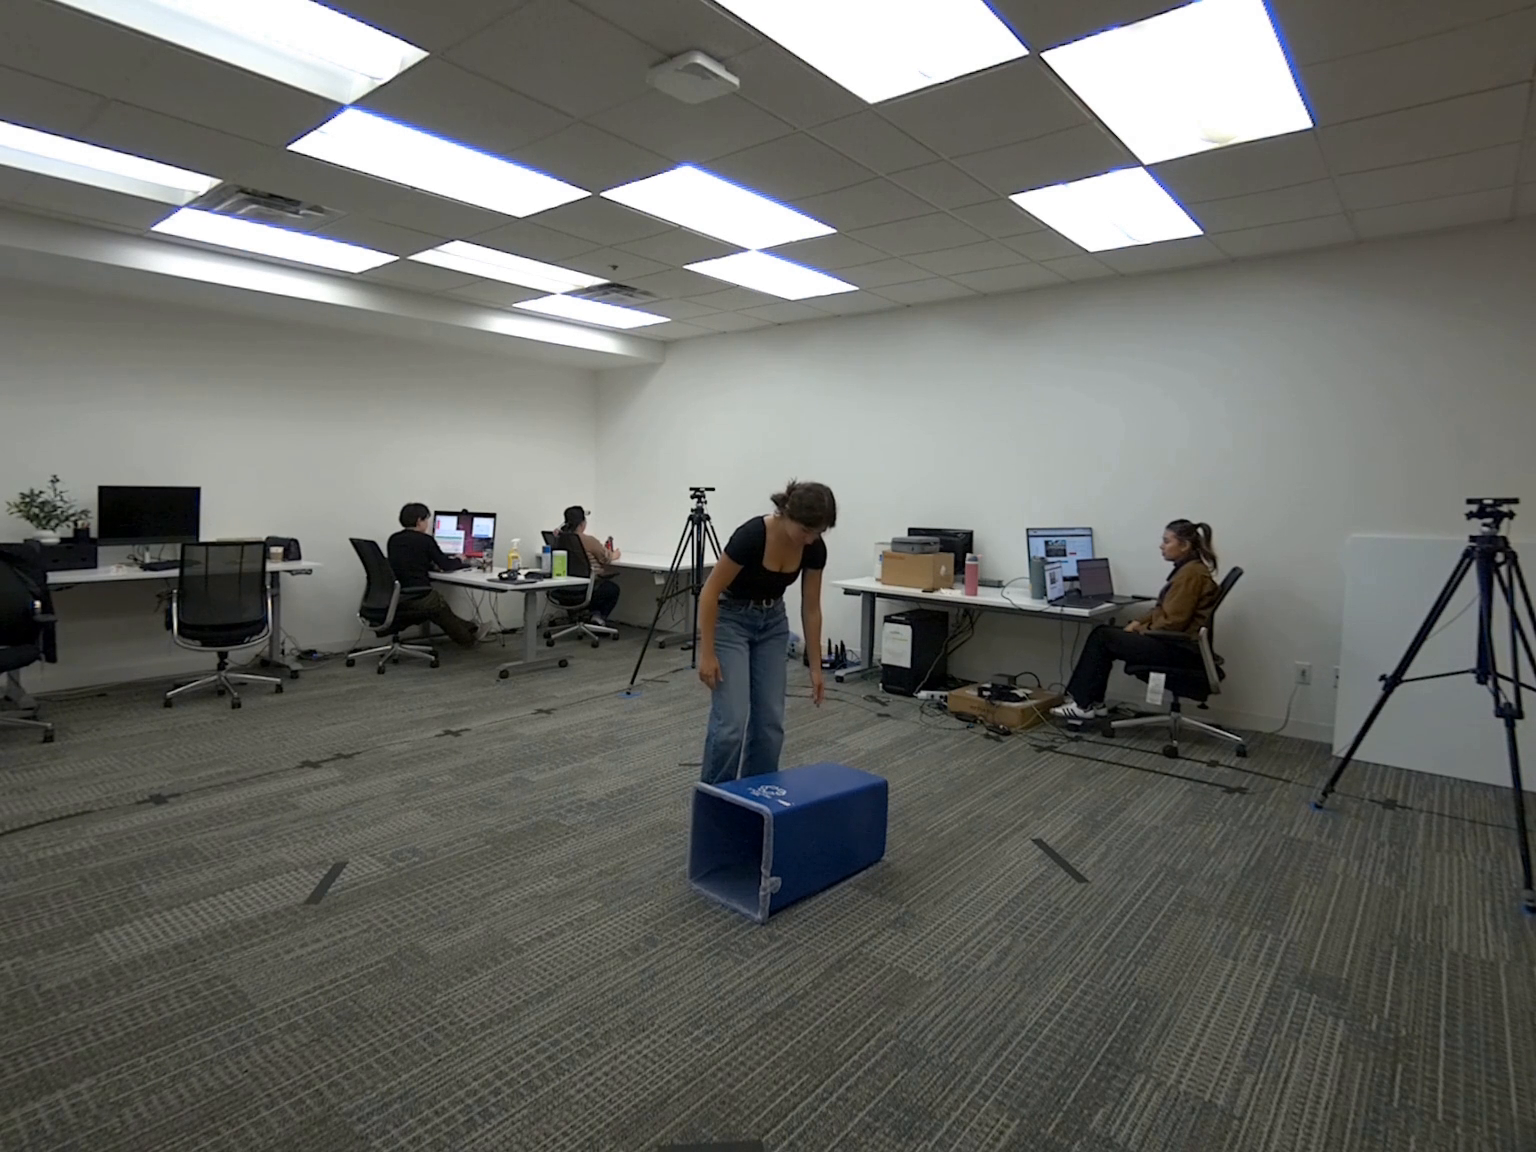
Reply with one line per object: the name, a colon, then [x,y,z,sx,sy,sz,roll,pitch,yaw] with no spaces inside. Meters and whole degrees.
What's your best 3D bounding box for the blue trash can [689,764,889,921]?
blue trash can: [0.096,0.914,3.070,0.391,0.374,0.690,4,3,45]
